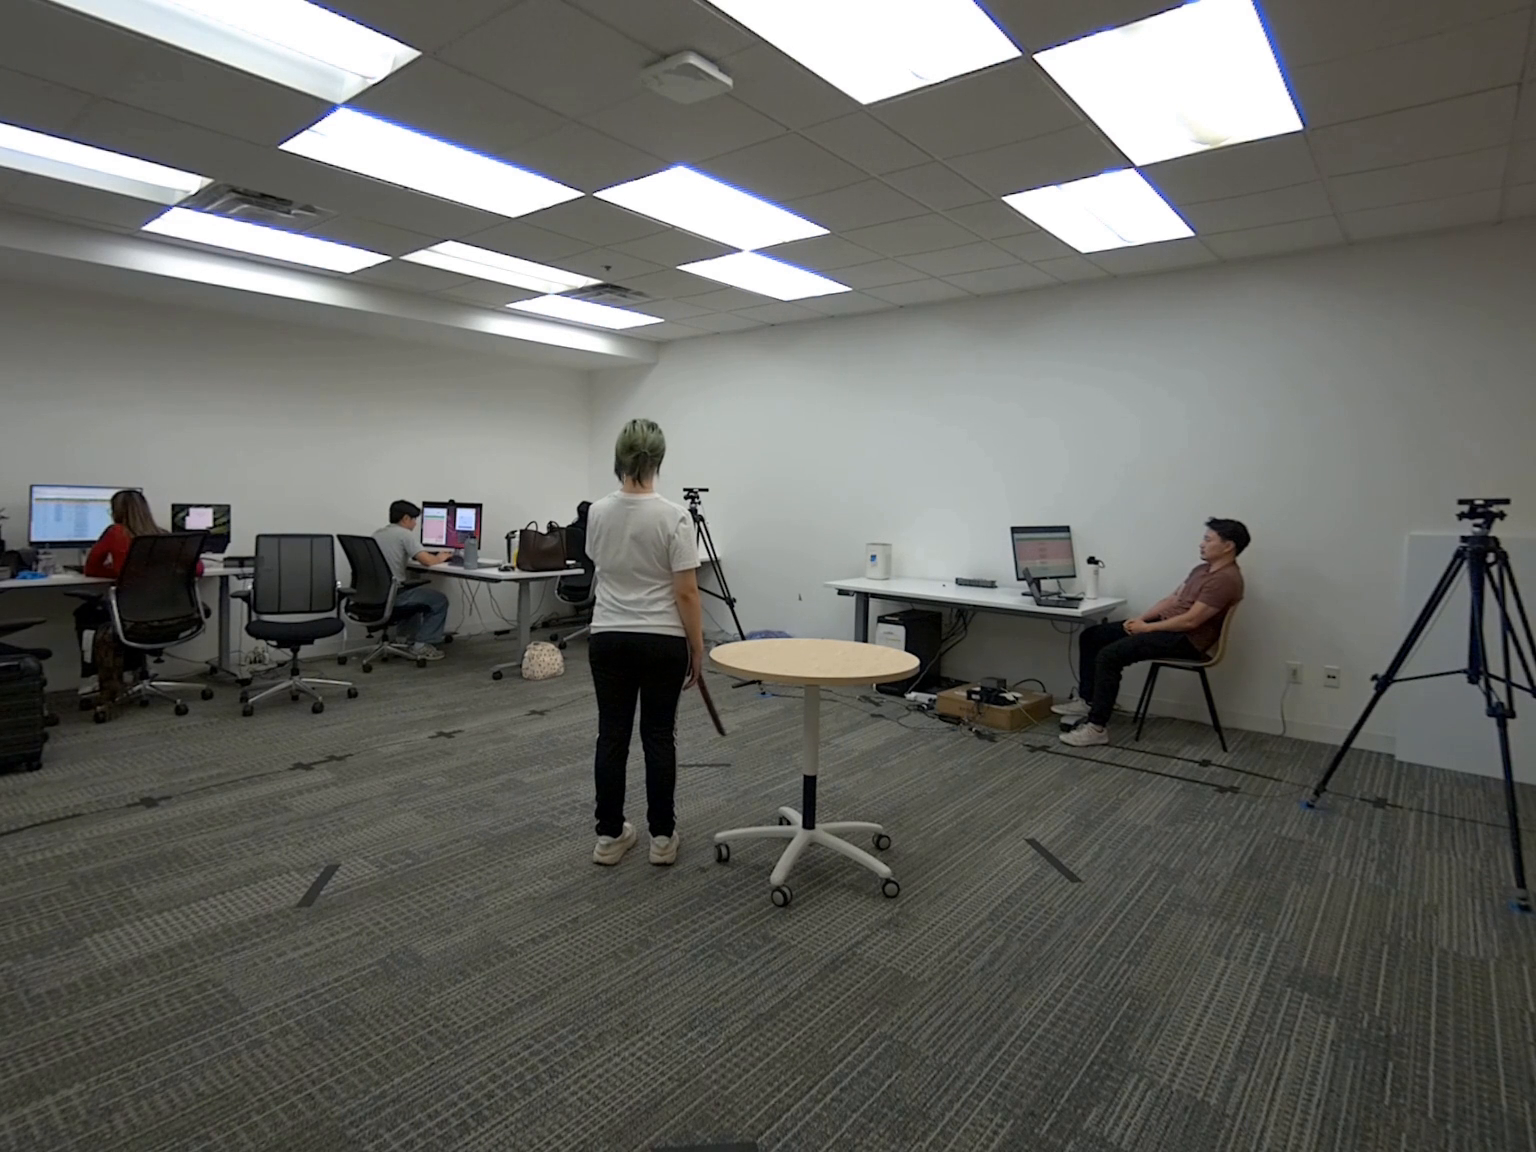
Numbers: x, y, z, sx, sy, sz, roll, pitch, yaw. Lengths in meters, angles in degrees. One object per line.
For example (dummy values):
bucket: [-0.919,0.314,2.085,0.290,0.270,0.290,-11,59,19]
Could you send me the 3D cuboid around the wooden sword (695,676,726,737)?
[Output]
wooden sword: [-0.368,0.254,3.652,0.050,1.008,0.025,-23,14,-24]
